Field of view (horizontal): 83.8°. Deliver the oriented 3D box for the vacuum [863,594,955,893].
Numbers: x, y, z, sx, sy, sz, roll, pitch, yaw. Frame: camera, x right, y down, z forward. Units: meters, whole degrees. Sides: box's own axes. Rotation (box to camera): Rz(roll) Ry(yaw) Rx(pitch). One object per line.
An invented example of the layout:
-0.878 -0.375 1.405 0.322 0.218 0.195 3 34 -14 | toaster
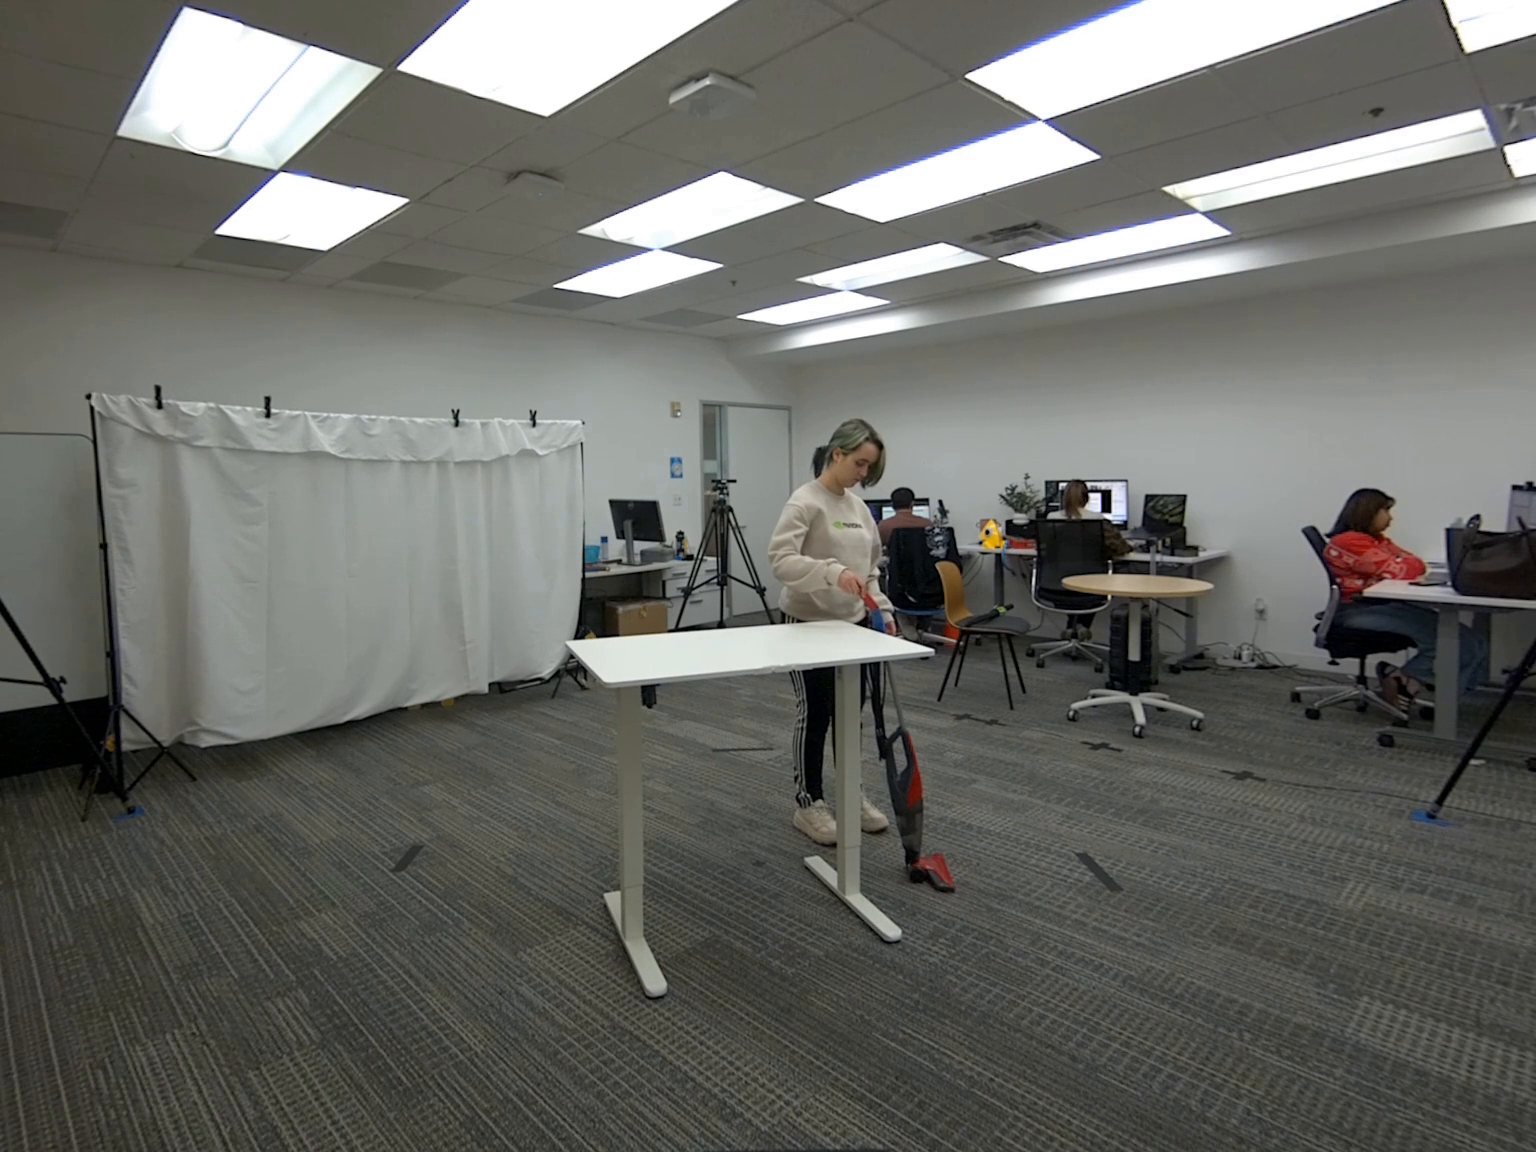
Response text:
0.436 0.551 2.978 0.144 1.048 0.252 -14 1 1 | vacuum
